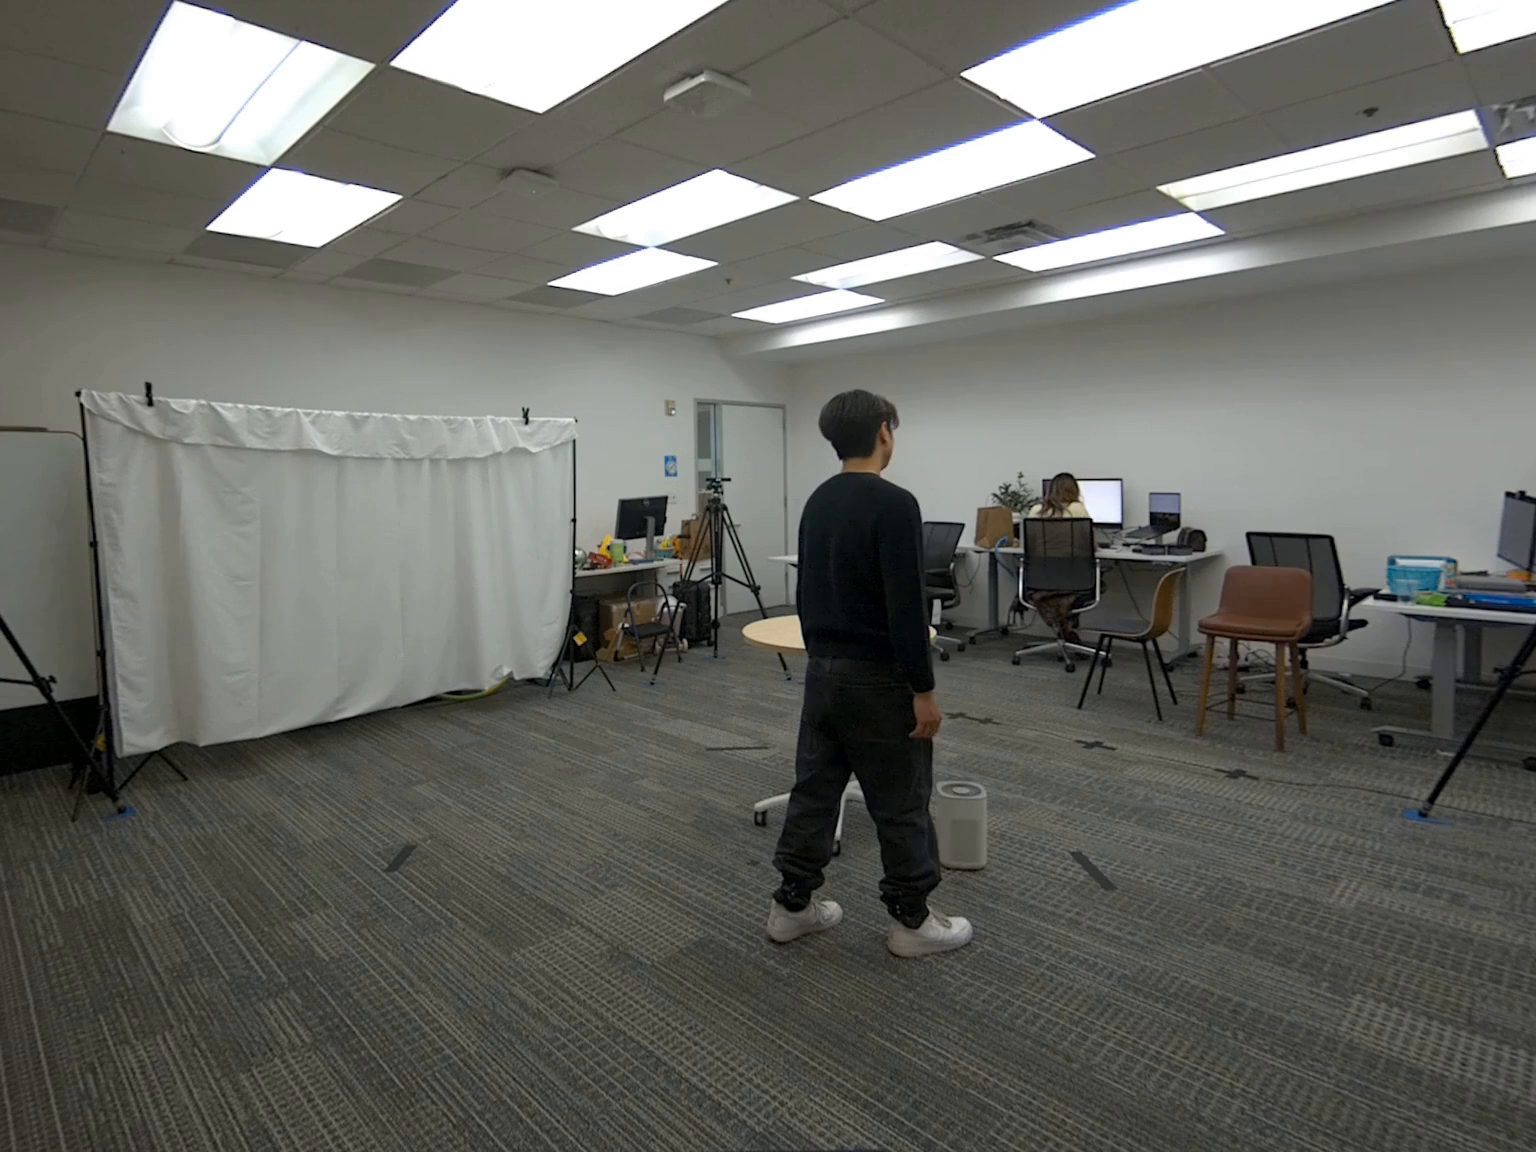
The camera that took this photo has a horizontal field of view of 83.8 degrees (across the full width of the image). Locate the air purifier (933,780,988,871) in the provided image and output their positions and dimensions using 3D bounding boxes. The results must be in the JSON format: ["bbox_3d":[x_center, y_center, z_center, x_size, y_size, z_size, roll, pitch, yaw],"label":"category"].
[{"bbox_3d":[0.701,0.898,3.079,0.173,0.264,0.170,-1,4,6],"label":"air purifier"}]
